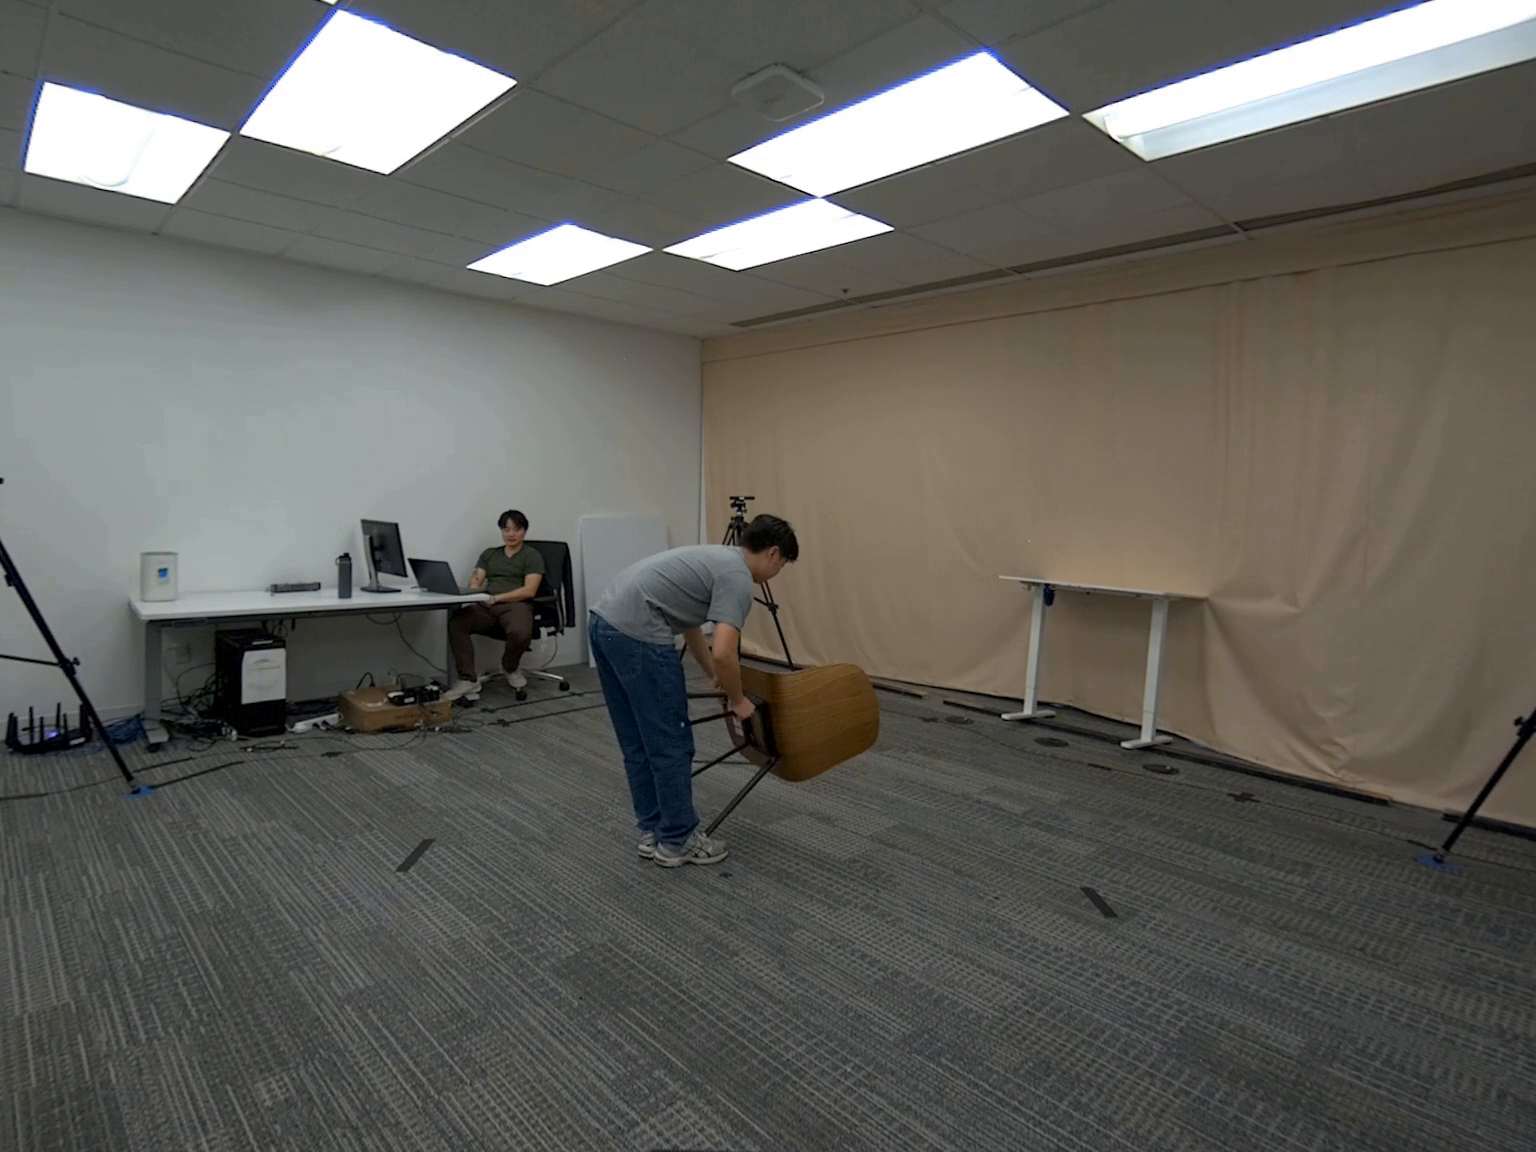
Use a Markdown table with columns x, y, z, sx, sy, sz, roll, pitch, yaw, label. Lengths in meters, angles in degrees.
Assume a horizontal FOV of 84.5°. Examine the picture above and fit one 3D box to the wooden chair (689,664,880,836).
| x | y | z | sx | sy | sz | roll | pitch | yaw | label |
| --- | --- | --- | --- | --- | --- | --- | --- | --- | --- |
| -0.059 | 0.611 | 3.438 | 0.866 | 0.473 | 0.535 | -17 | 13 | -27 | wooden chair |
